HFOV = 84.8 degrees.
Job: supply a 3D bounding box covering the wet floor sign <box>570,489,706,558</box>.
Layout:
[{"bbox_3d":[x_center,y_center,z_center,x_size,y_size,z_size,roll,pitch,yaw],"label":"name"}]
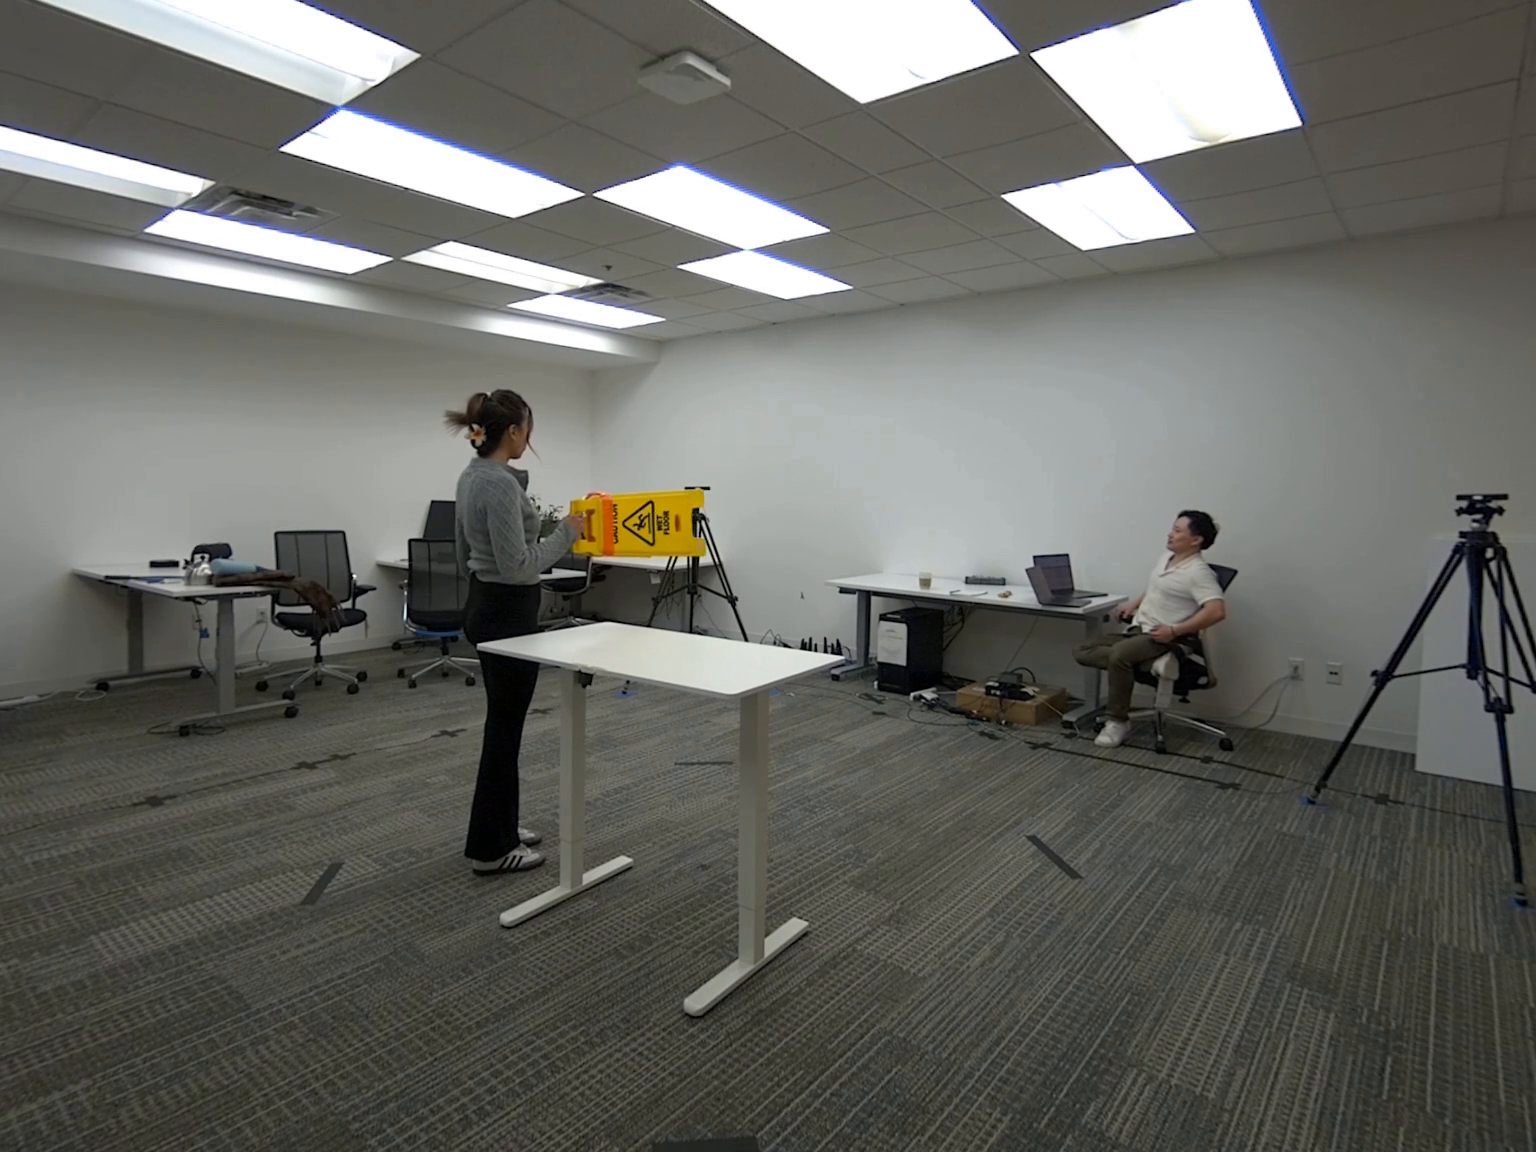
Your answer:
[{"bbox_3d":[-0.558,-0.200,3.340,0.298,0.282,0.629,-2,2,31],"label":"wet floor sign"}]
